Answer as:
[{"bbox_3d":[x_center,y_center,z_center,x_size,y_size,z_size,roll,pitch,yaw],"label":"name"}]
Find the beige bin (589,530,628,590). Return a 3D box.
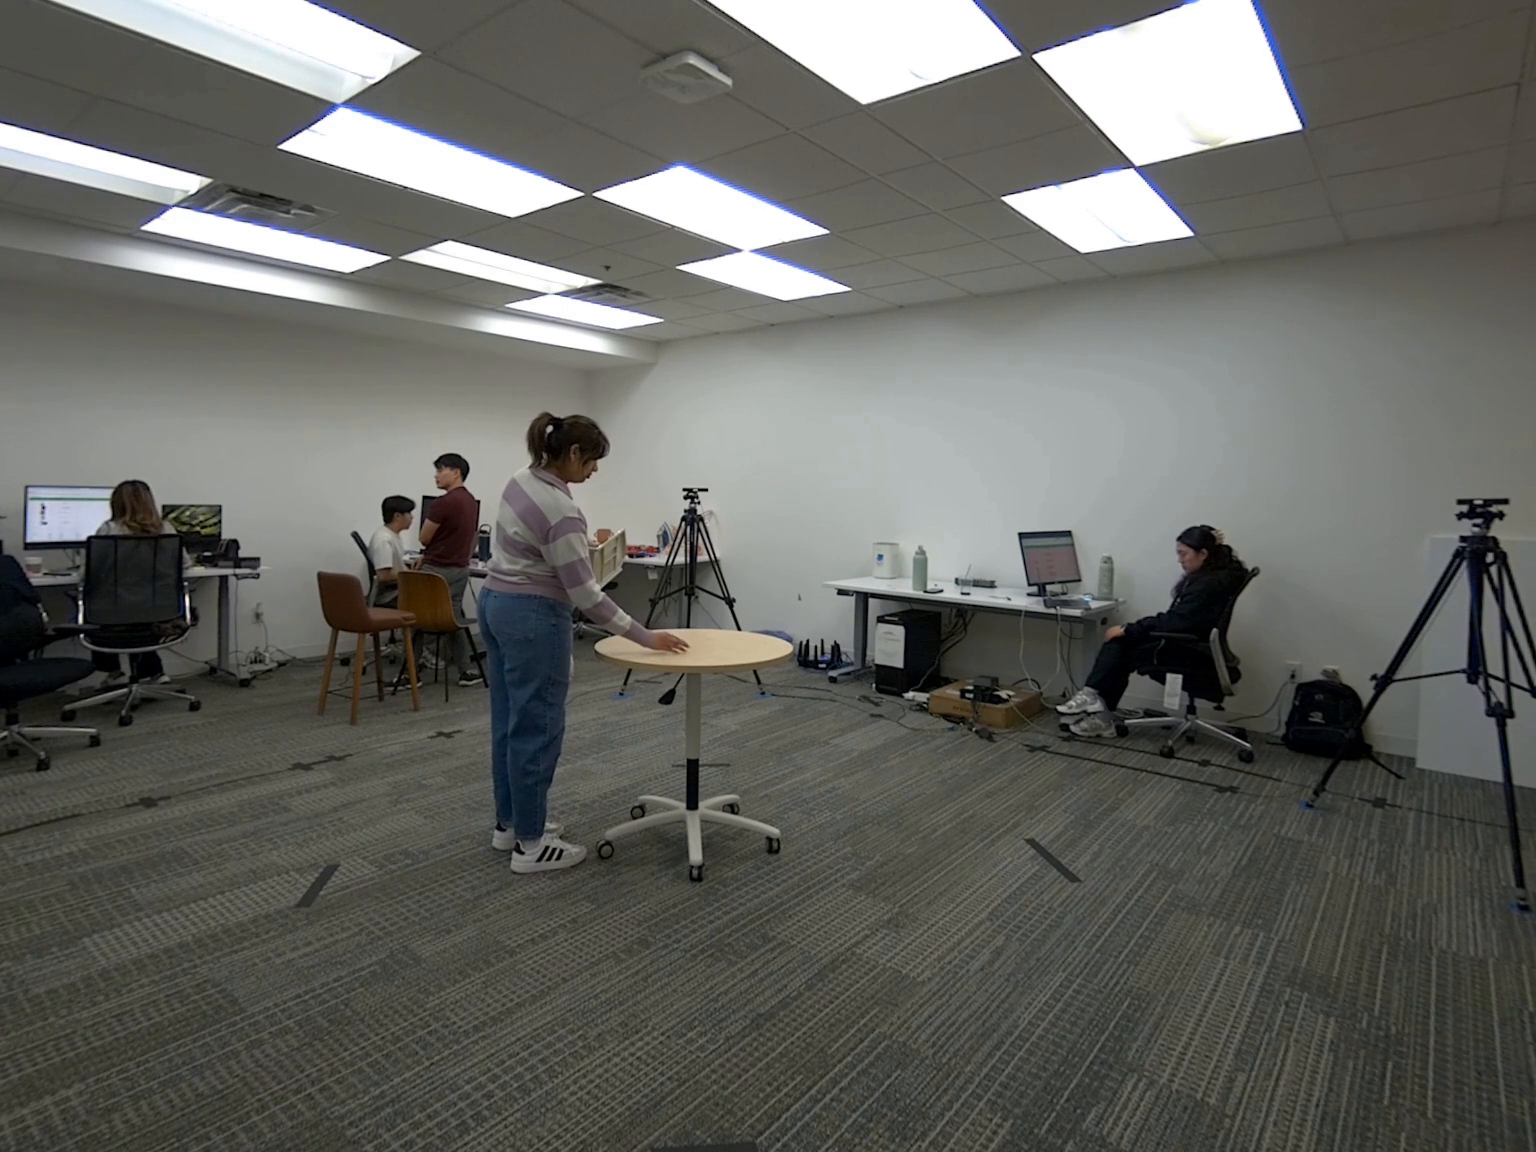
[{"bbox_3d":[-0.852,-0.083,3.484,0.427,0.186,0.379,4,17,9],"label":"beige bin"}]
